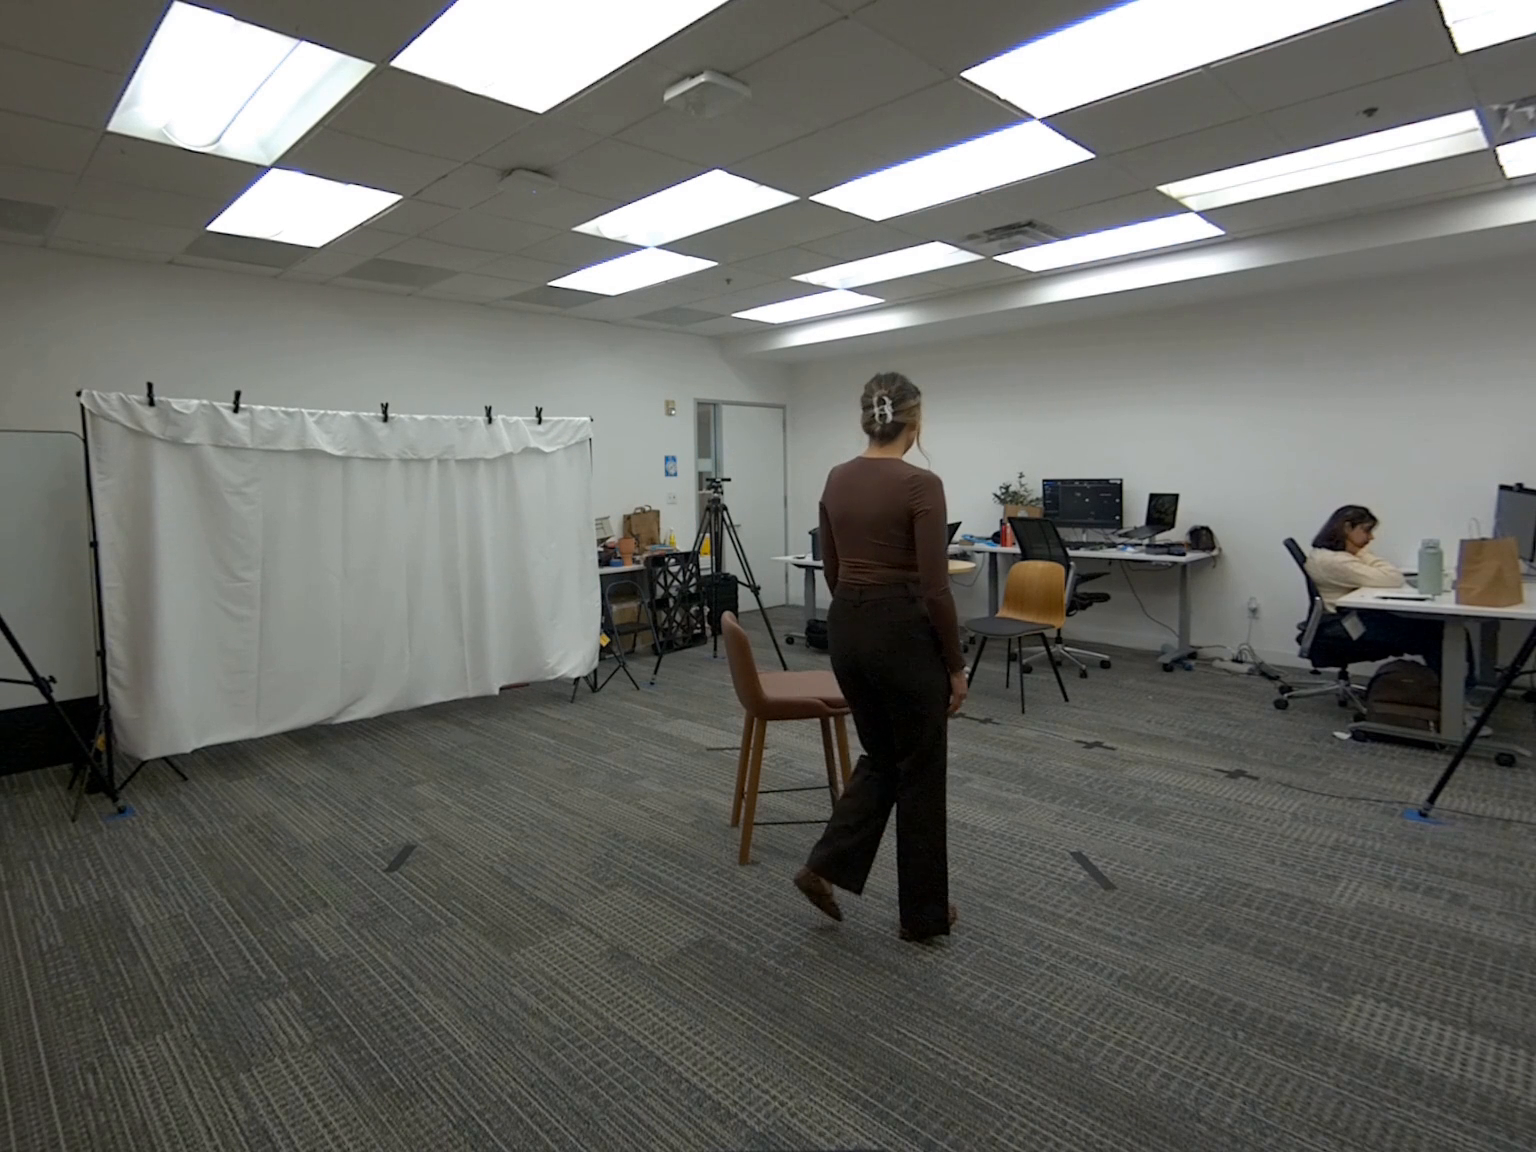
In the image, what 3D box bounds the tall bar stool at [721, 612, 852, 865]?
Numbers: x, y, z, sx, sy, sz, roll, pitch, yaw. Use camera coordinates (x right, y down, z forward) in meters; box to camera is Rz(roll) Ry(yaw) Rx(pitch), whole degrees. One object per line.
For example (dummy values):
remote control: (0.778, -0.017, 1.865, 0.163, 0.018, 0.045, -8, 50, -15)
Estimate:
tall bar stool: (0.085, 0.588, 3.262, 0.465, 0.886, 0.461, -3, 4, -6)
